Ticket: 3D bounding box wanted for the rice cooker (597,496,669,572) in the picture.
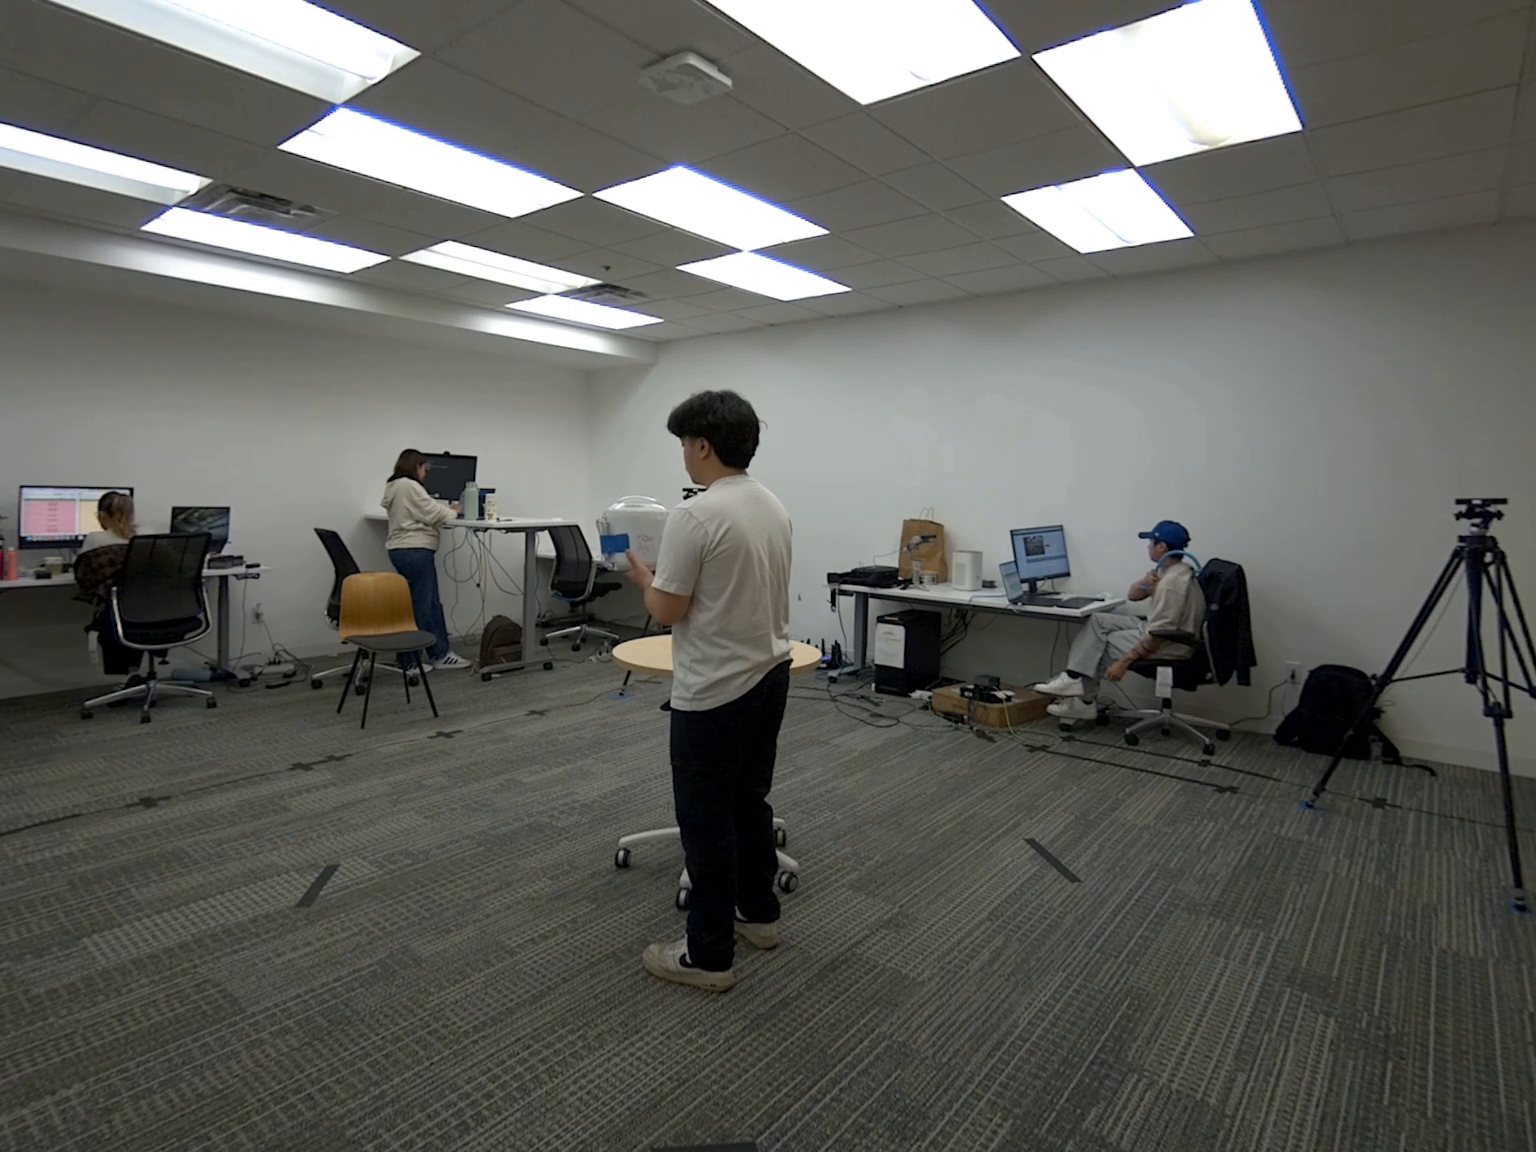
[{"bbox_3d":[-0.425,-0.136,2.682,0.222,0.232,0.217,1,3,4],"label":"rice cooker"}]
